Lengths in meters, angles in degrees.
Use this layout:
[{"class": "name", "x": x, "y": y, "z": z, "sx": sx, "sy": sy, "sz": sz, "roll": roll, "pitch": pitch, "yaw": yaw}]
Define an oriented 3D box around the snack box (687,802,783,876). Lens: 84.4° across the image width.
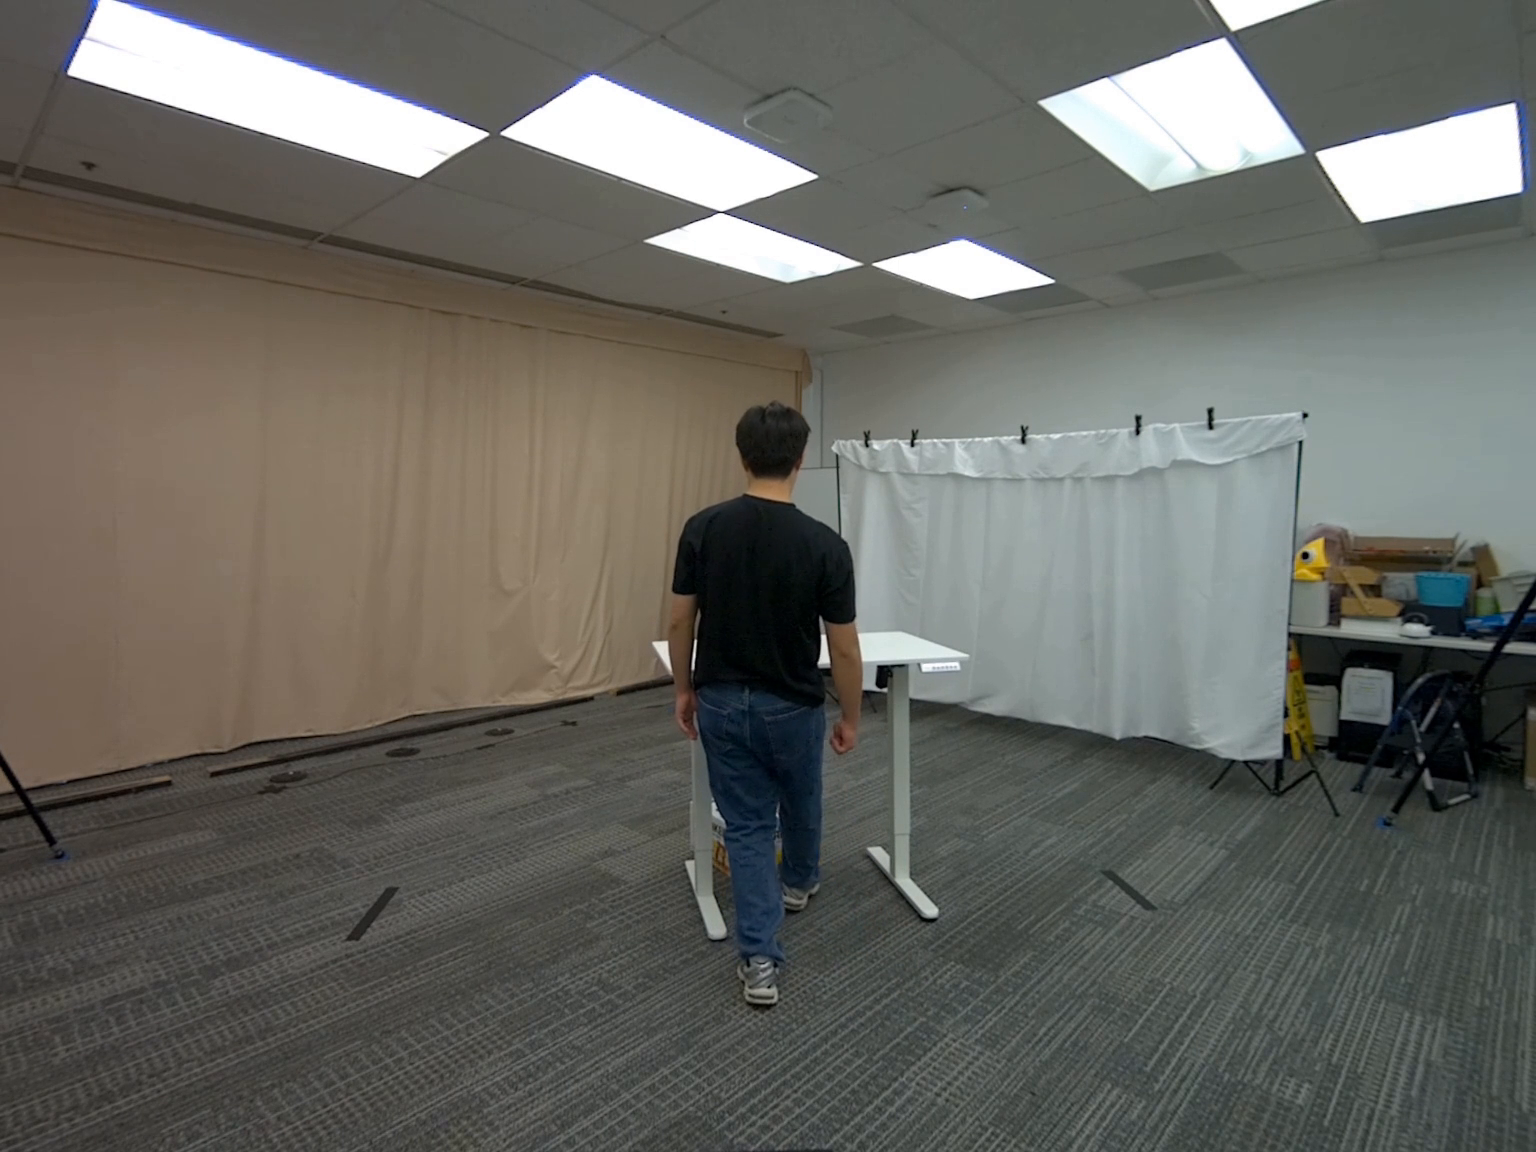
[{"class": "snack box", "x": -0.056, "y": 1.014, "z": 3.309, "sx": 0.331, "sy": 0.205, "sz": 0.418, "roll": -3, "pitch": 6, "yaw": -33}]
